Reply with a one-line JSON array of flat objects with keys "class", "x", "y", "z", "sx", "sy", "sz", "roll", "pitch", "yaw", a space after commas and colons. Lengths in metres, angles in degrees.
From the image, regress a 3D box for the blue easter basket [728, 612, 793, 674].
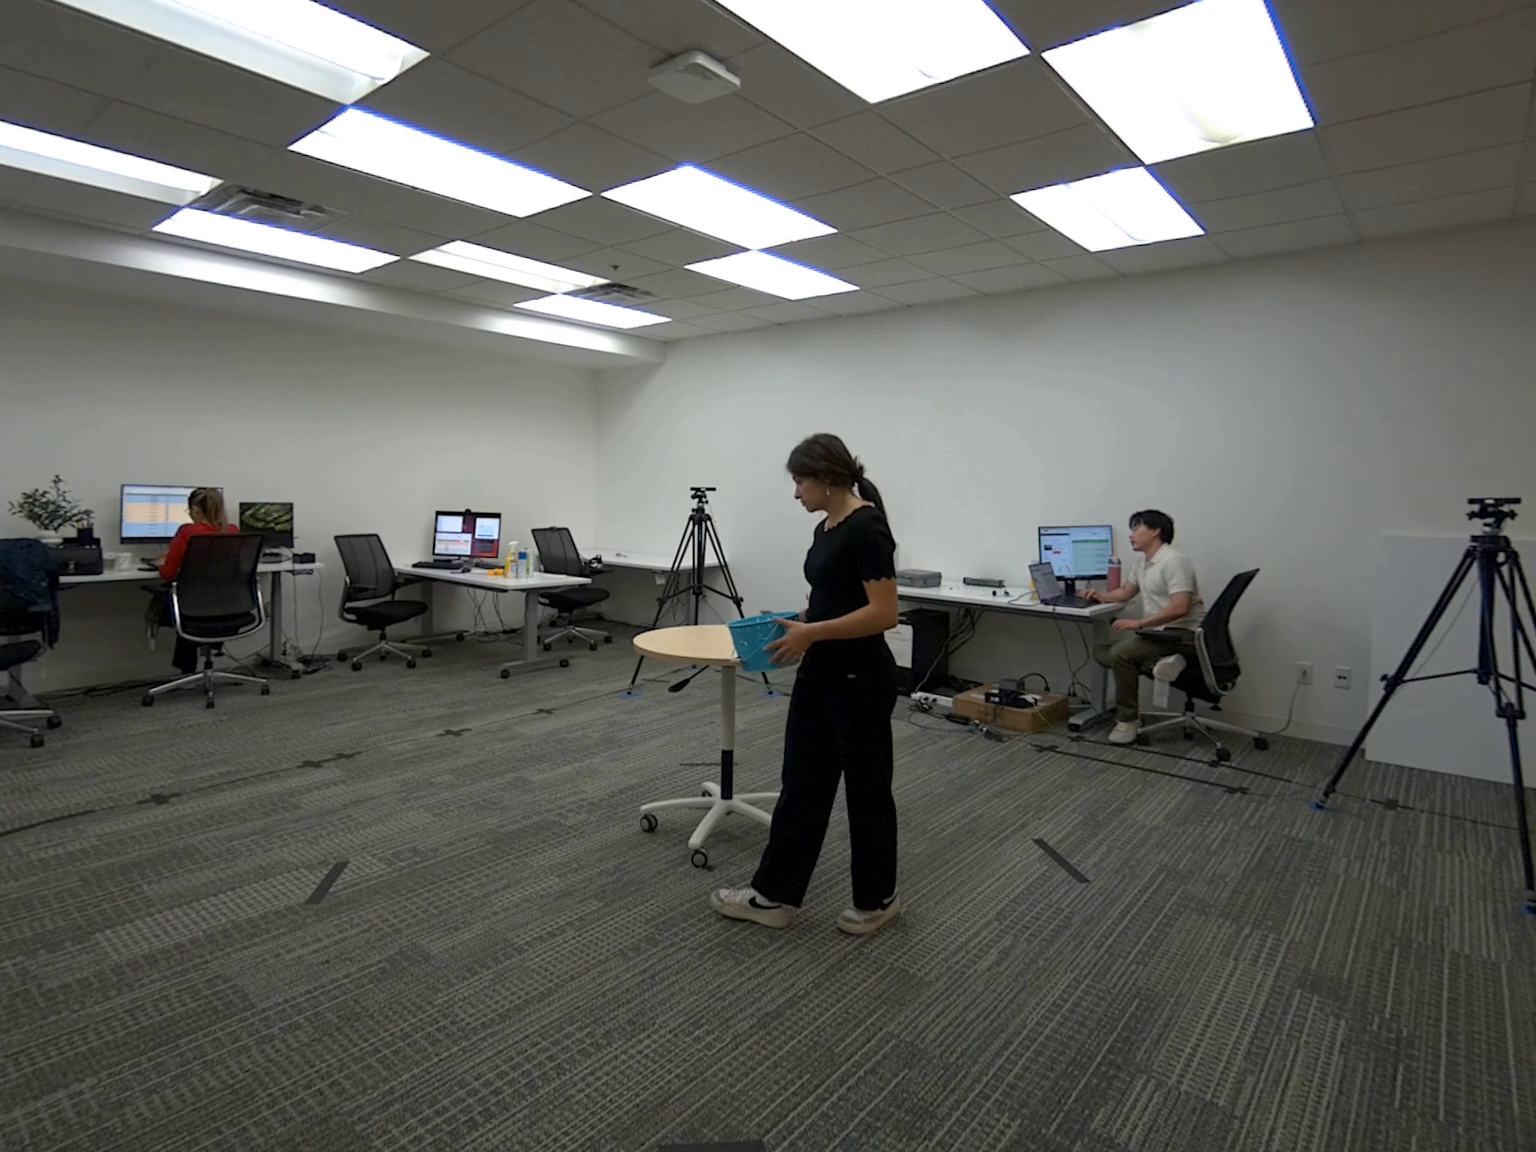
[{"class": "blue easter basket", "x": -0.011, "y": 0.209, "z": 2.663, "sx": 0.243, "sy": 0.155, "sz": 0.244, "roll": -8, "pitch": 4, "yaw": -1}]
